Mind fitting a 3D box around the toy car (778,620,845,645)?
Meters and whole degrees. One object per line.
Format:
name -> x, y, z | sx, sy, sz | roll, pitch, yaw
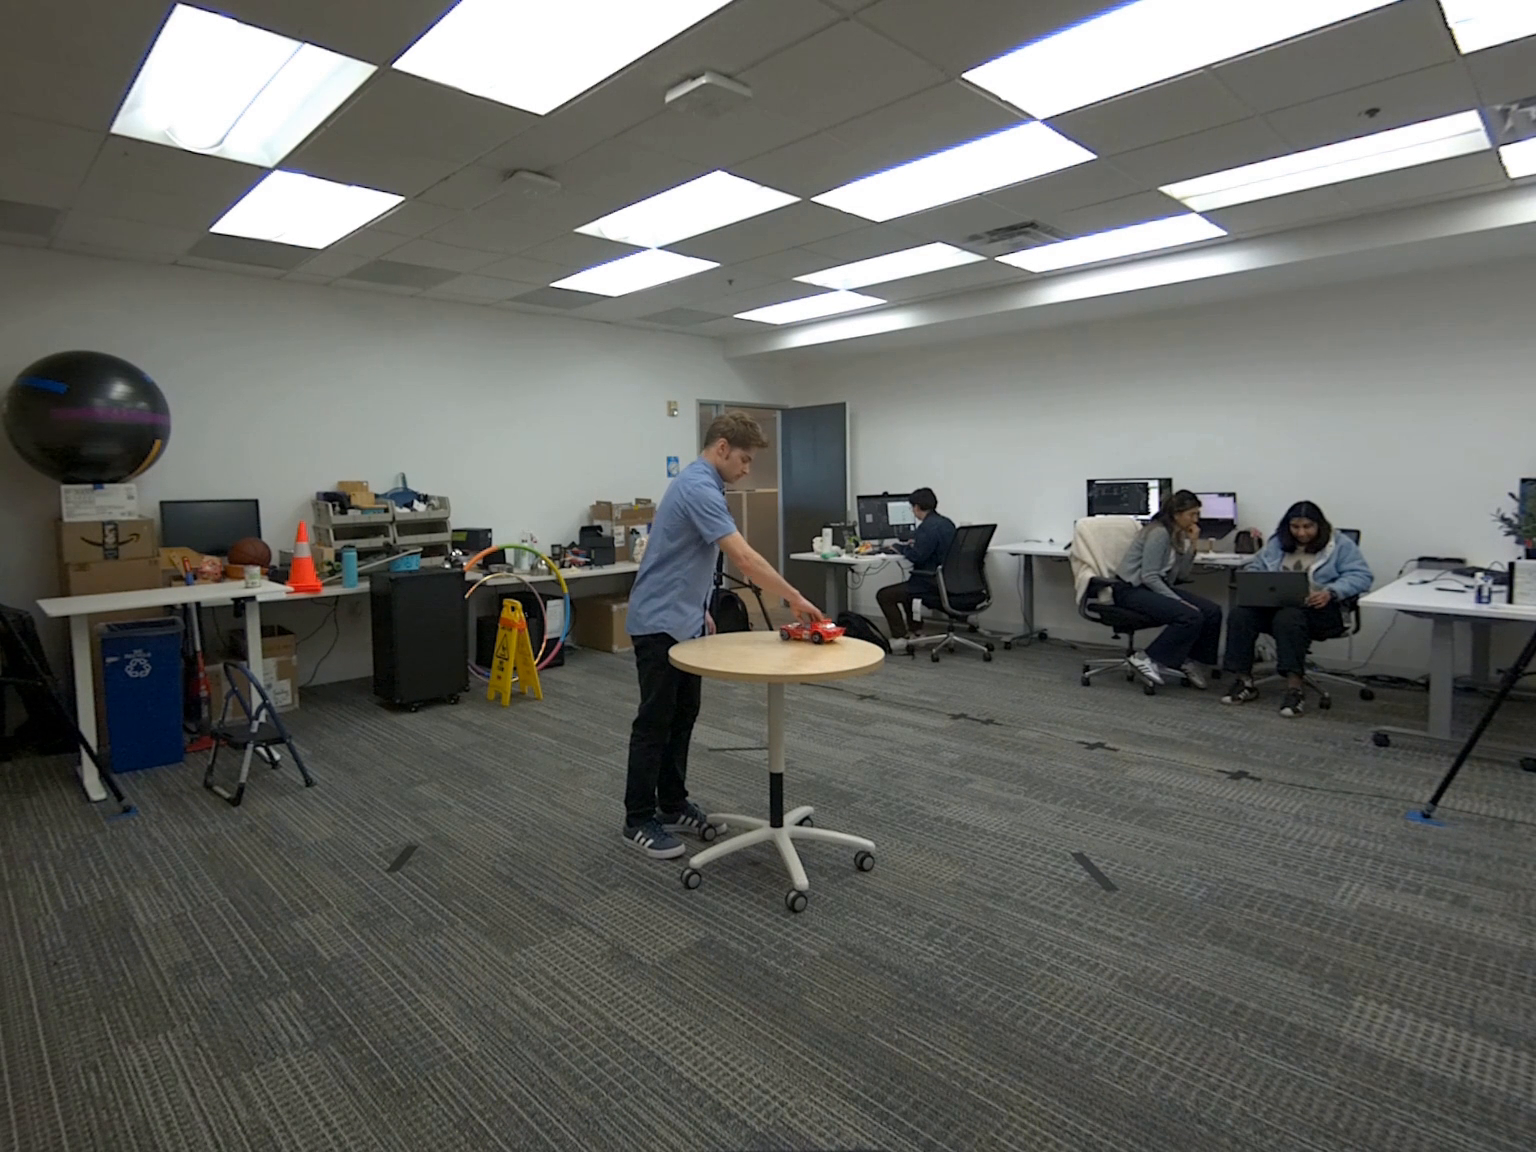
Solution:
toy car -> 0.170, 0.214, 3.217 | 0.260, 0.083, 0.127 | -10, -1, 38
